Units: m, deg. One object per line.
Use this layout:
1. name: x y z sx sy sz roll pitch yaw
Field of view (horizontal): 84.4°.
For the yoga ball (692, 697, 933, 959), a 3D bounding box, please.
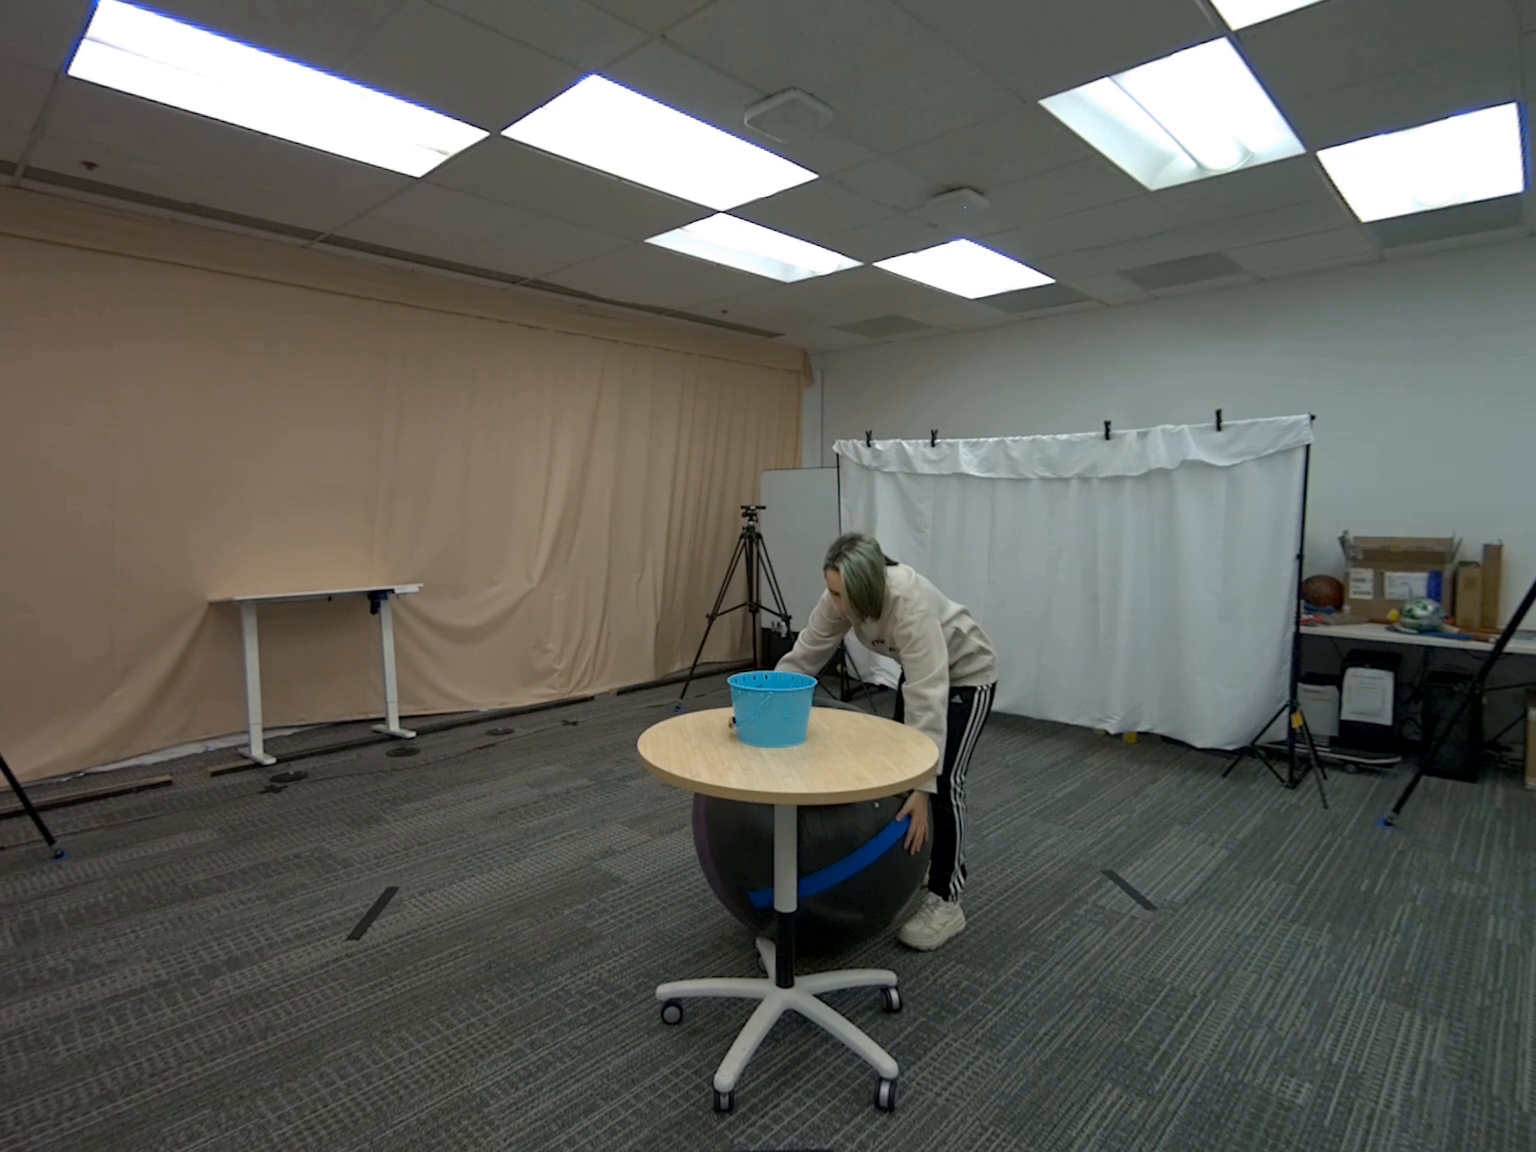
1. yoga ball: 0.134 0.770 2.688 0.757 0.756 0.761 0 4 -2
